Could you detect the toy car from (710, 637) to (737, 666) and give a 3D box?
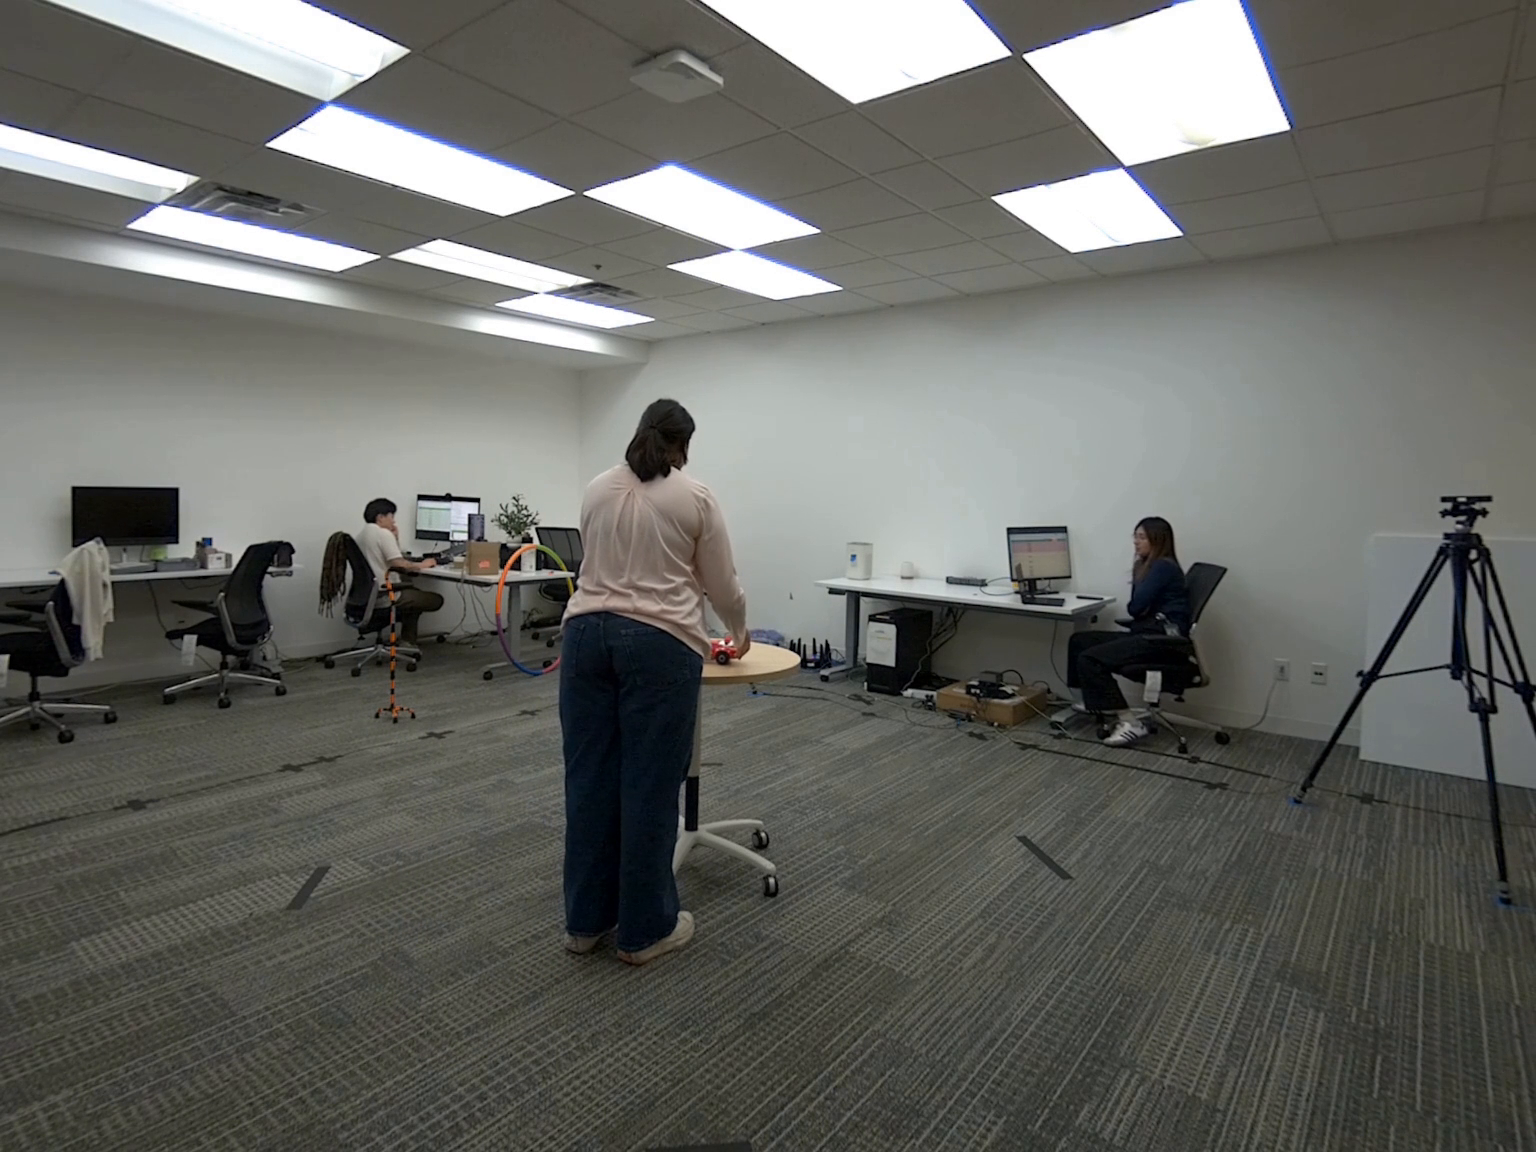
[{"bbox_3d":[-0.206,0.266,2.966,0.256,0.083,0.130,-9,4,7],"label":"toy car"}]
